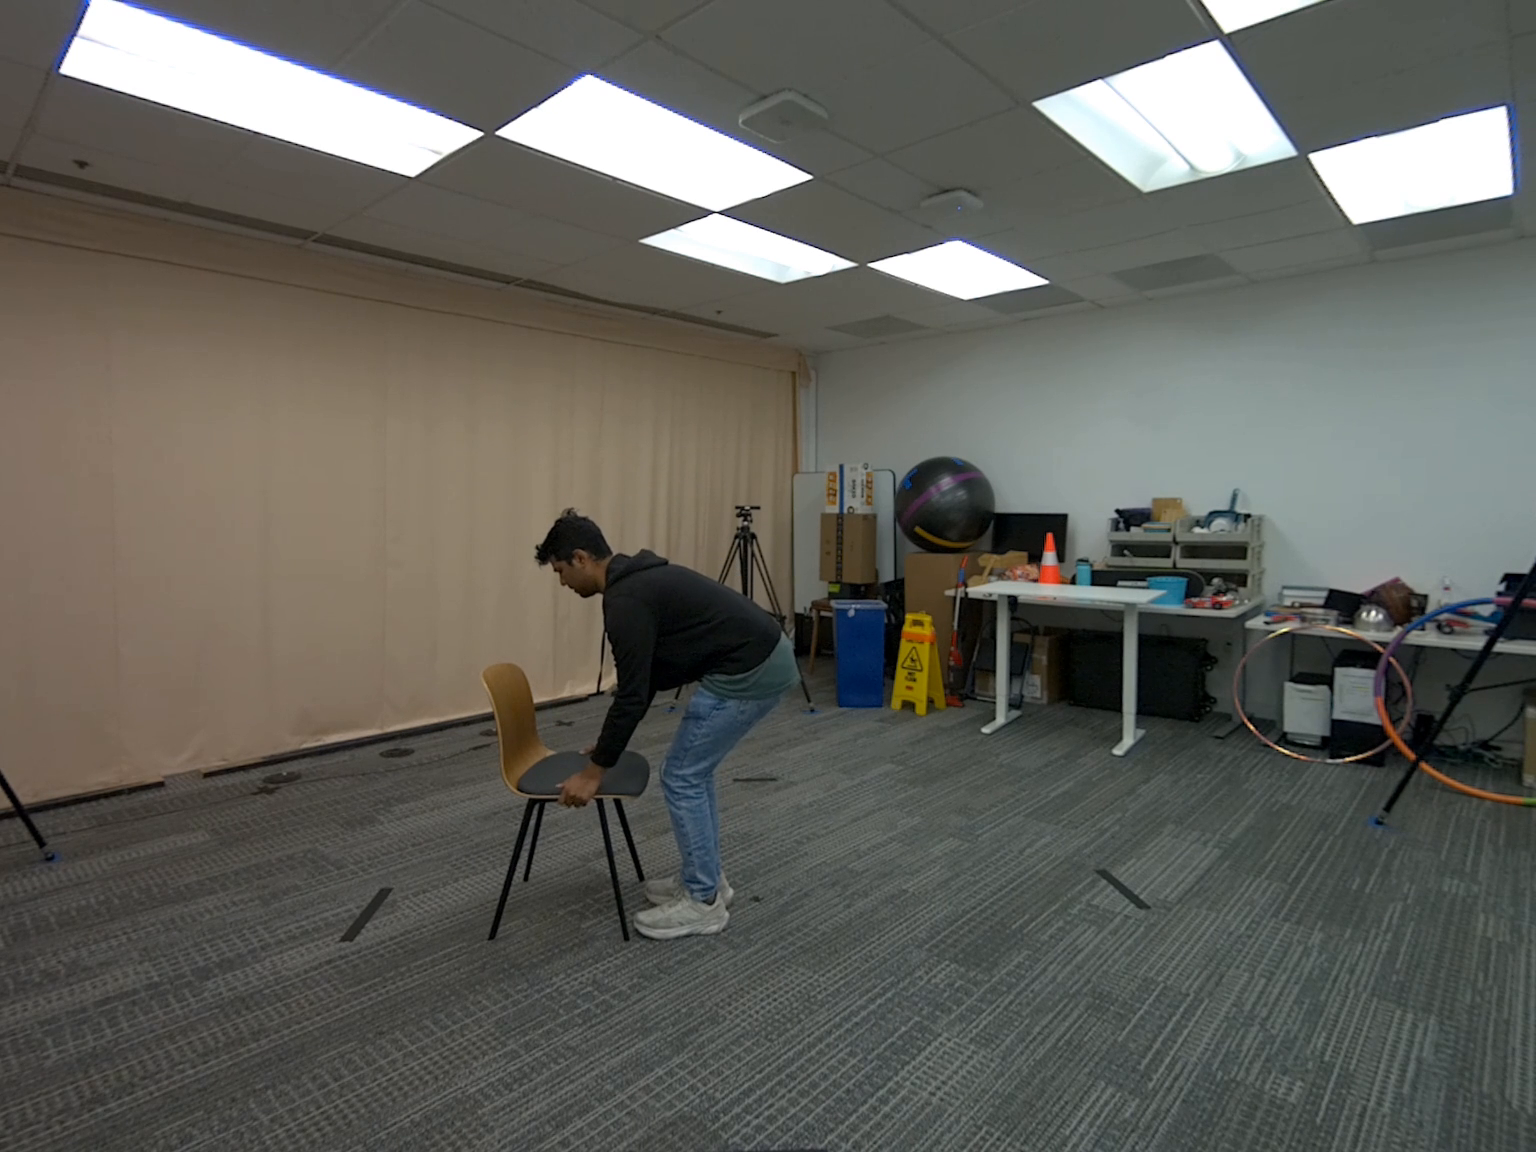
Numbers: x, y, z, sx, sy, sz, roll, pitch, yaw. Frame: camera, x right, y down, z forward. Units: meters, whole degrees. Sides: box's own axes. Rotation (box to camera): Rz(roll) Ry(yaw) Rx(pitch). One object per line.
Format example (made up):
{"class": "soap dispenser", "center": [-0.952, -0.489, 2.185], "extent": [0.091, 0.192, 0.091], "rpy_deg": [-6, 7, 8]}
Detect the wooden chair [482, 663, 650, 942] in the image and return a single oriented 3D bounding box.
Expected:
{"class": "wooden chair", "center": [-0.671, 0.725, 2.903], "extent": [0.523, 0.876, 0.479], "rpy_deg": [-5, 2, 0]}
